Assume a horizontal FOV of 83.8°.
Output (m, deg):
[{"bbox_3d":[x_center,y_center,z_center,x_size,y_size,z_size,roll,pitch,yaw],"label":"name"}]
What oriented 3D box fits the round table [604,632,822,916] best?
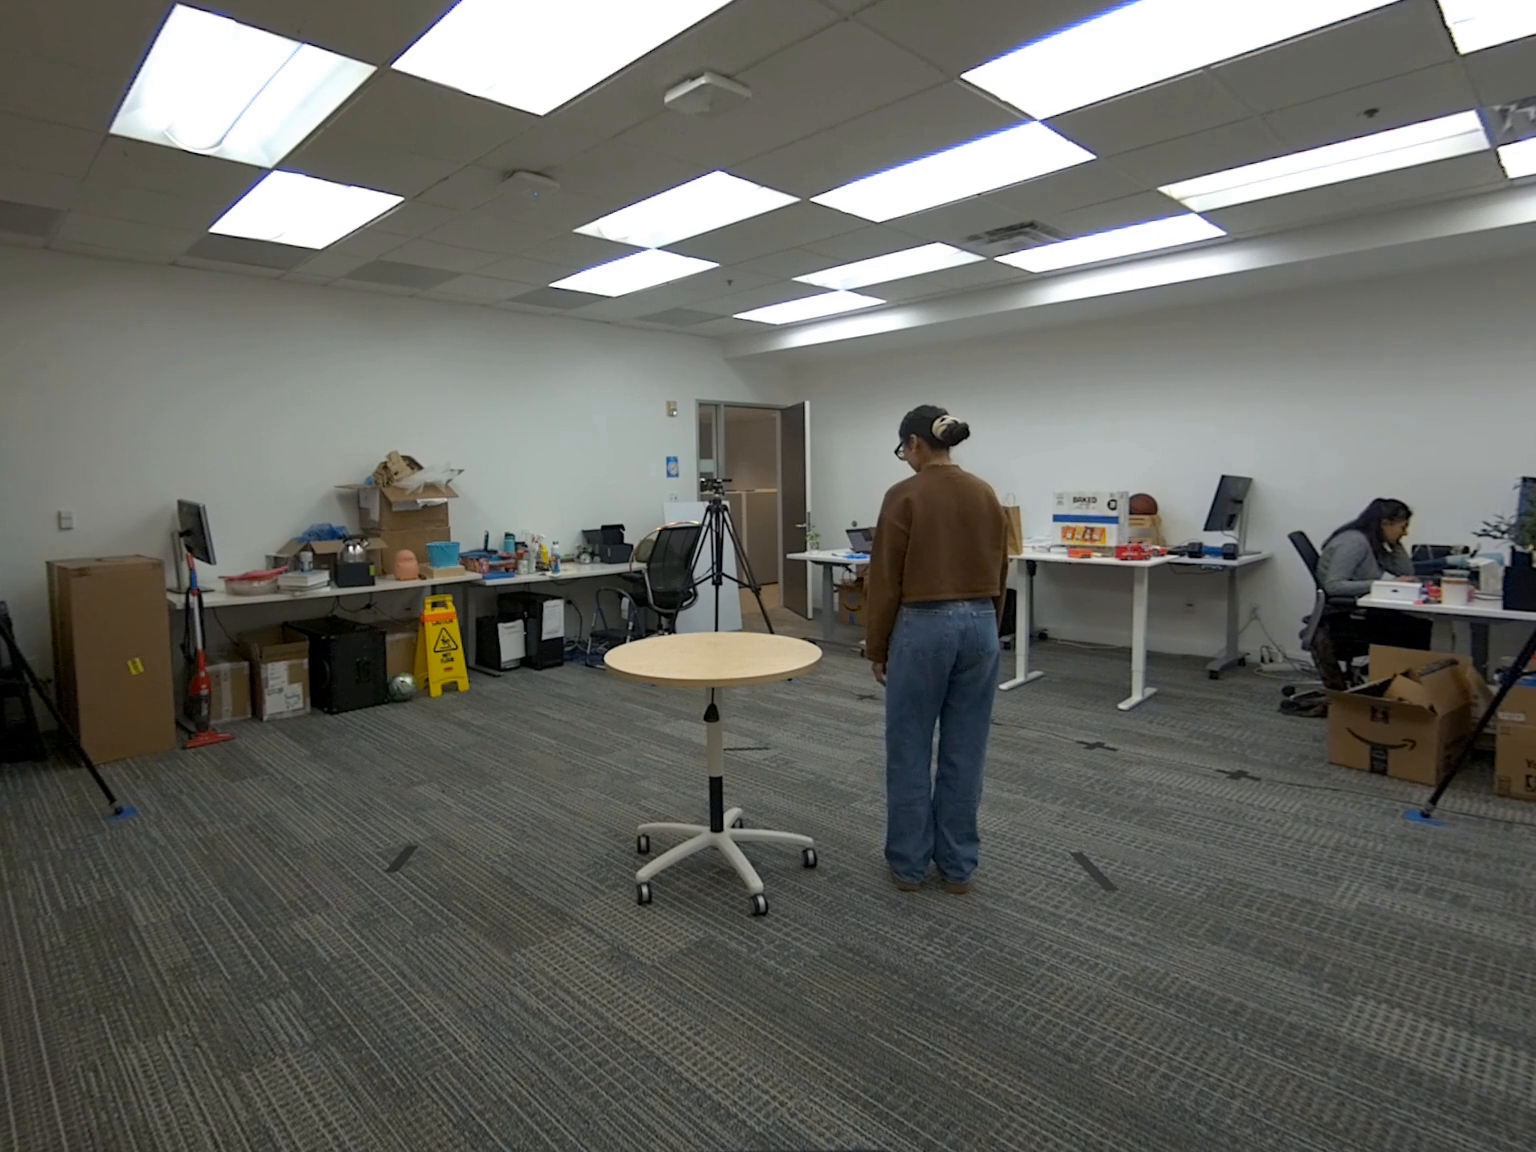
[{"bbox_3d":[-0.178,0.665,3.034,0.763,0.791,0.768,-1,5,-2],"label":"round table"}]
